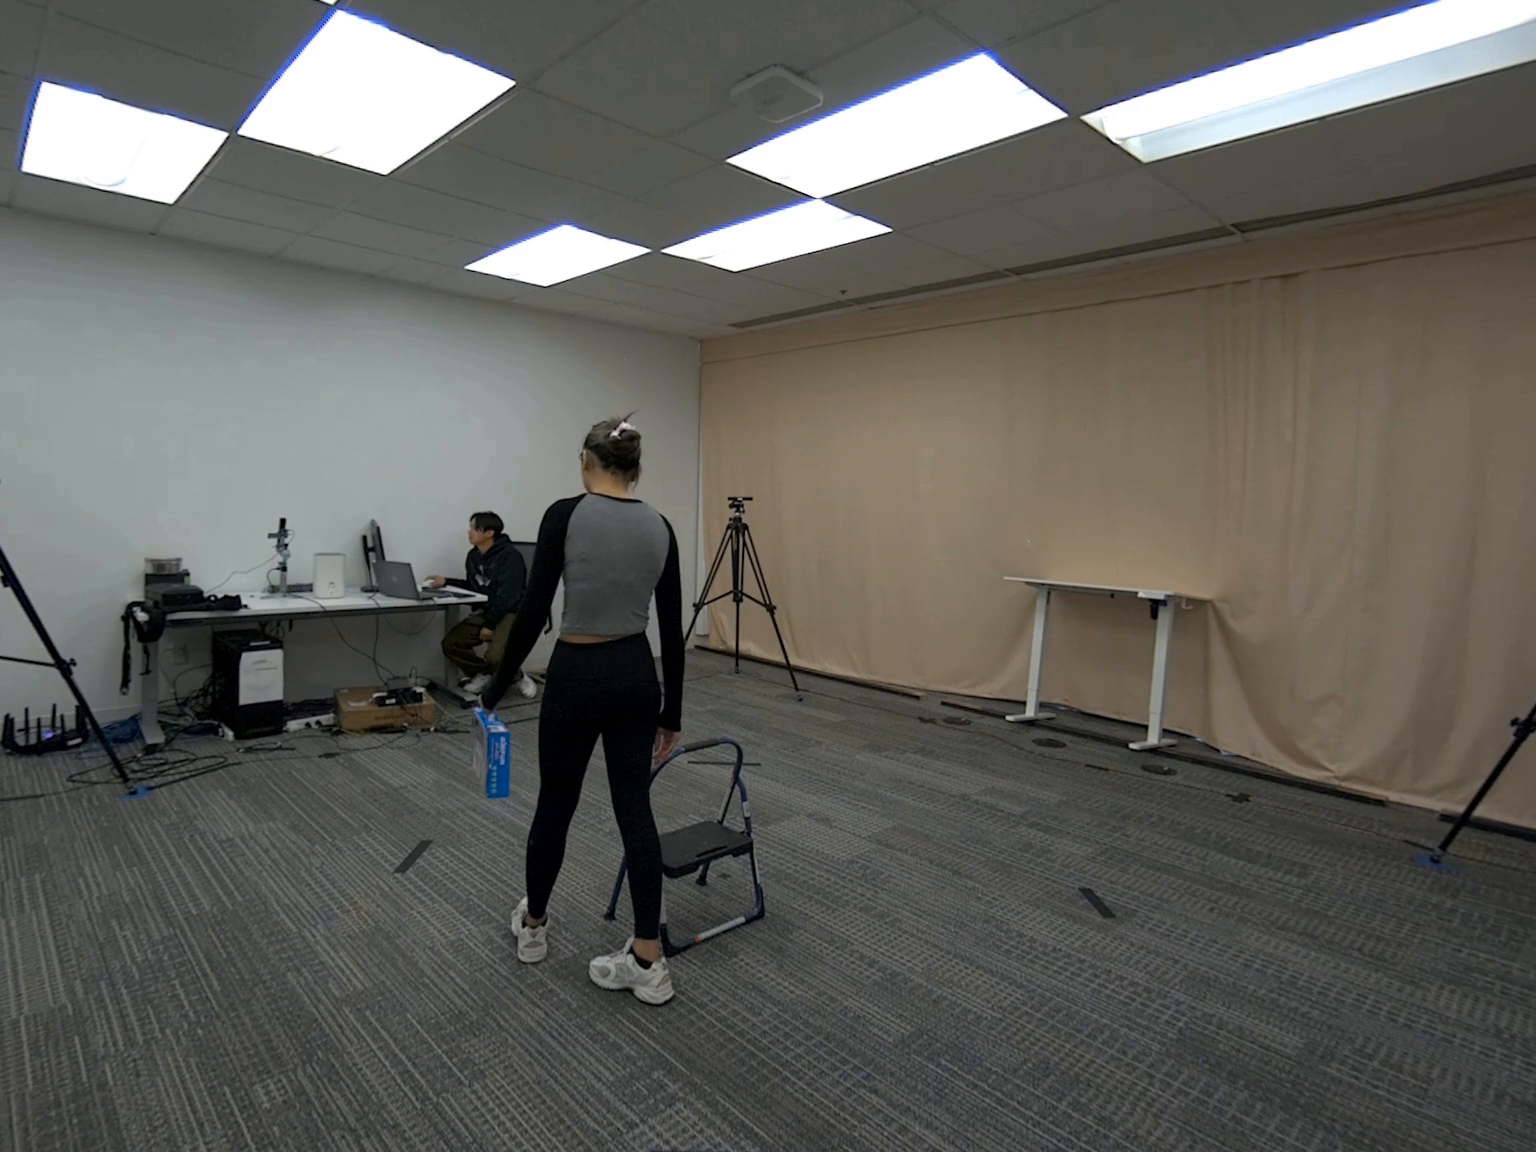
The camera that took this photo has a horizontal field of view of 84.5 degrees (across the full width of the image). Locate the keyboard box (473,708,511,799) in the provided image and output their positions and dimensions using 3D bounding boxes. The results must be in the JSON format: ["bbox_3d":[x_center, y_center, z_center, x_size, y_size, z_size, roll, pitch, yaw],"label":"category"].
[{"bbox_3d":[-0.803,0.499,2.407,0.058,0.176,0.444,1,0,-24],"label":"keyboard box"}]
